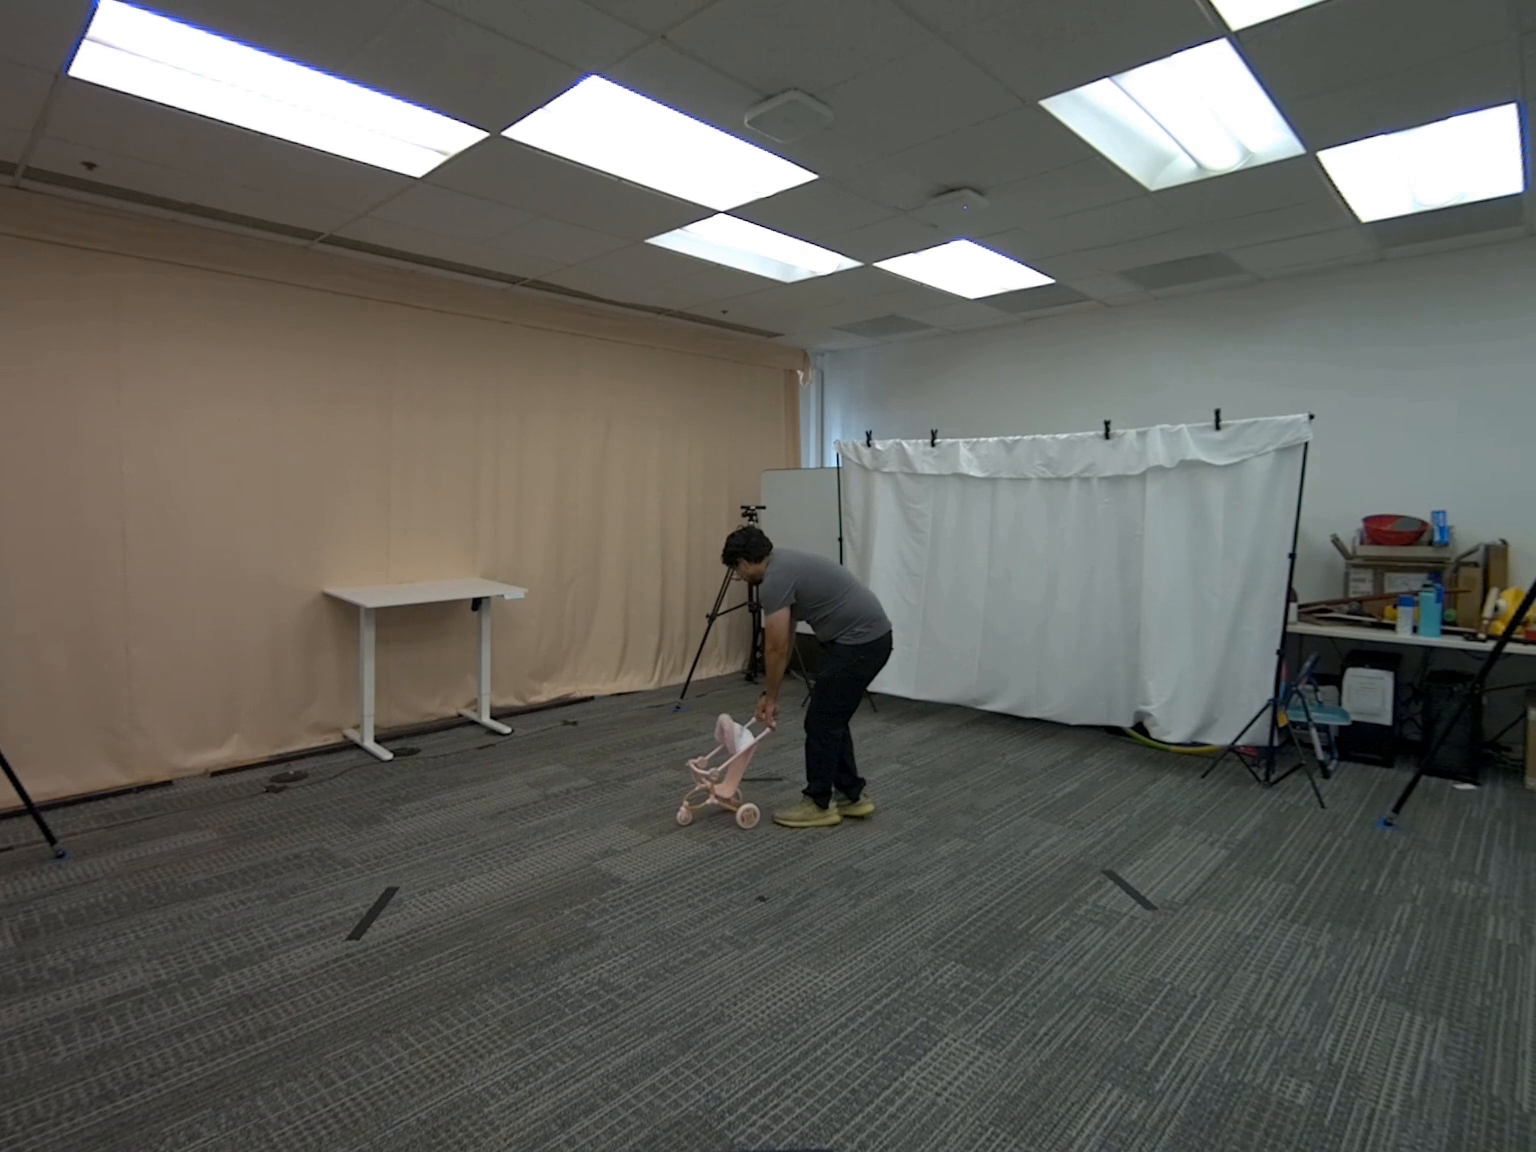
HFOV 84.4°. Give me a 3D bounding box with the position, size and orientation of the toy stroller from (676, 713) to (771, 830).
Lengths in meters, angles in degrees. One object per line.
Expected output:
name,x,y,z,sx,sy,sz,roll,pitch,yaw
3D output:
toy stroller,-0.201,0.857,3.729,0.336,0.535,0.286,13,-1,-14
